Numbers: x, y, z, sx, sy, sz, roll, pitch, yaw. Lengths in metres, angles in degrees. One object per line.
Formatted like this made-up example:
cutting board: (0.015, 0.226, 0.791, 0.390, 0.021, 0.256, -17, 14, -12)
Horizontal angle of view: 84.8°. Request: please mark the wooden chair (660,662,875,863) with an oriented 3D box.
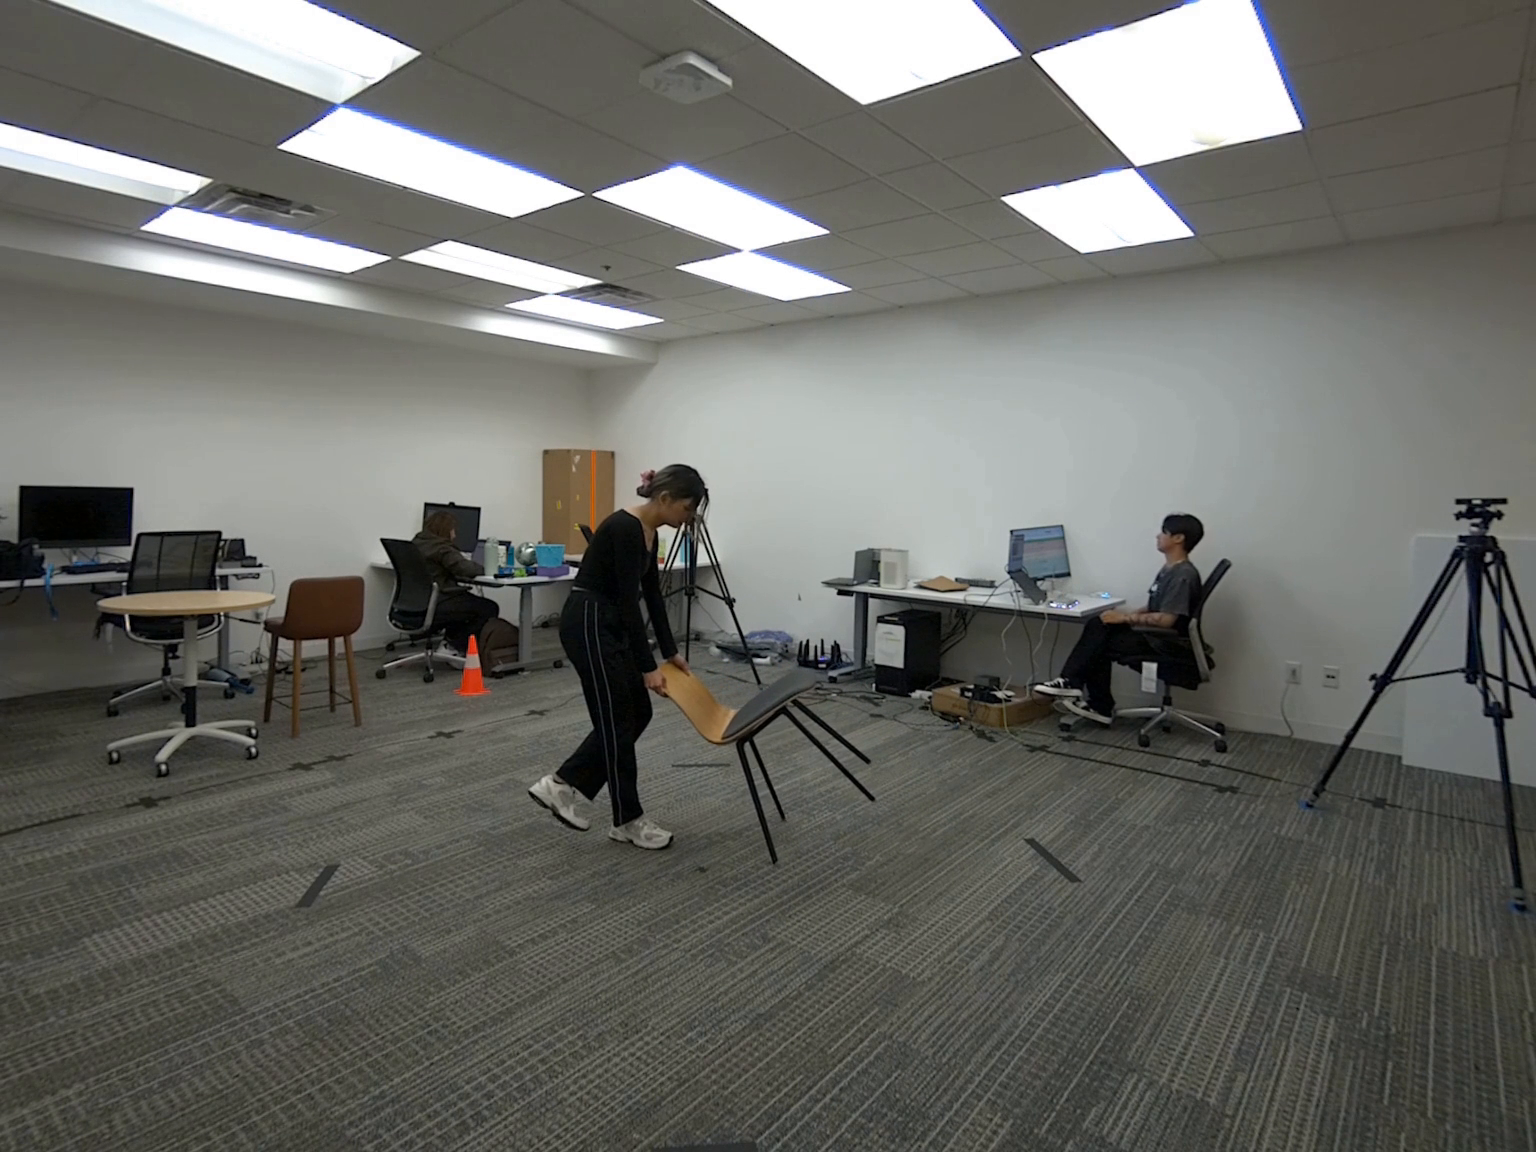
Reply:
wooden chair: (-0.022, 0.568, 3.365, 0.524, 0.882, 0.475, -40, -3, 9)
